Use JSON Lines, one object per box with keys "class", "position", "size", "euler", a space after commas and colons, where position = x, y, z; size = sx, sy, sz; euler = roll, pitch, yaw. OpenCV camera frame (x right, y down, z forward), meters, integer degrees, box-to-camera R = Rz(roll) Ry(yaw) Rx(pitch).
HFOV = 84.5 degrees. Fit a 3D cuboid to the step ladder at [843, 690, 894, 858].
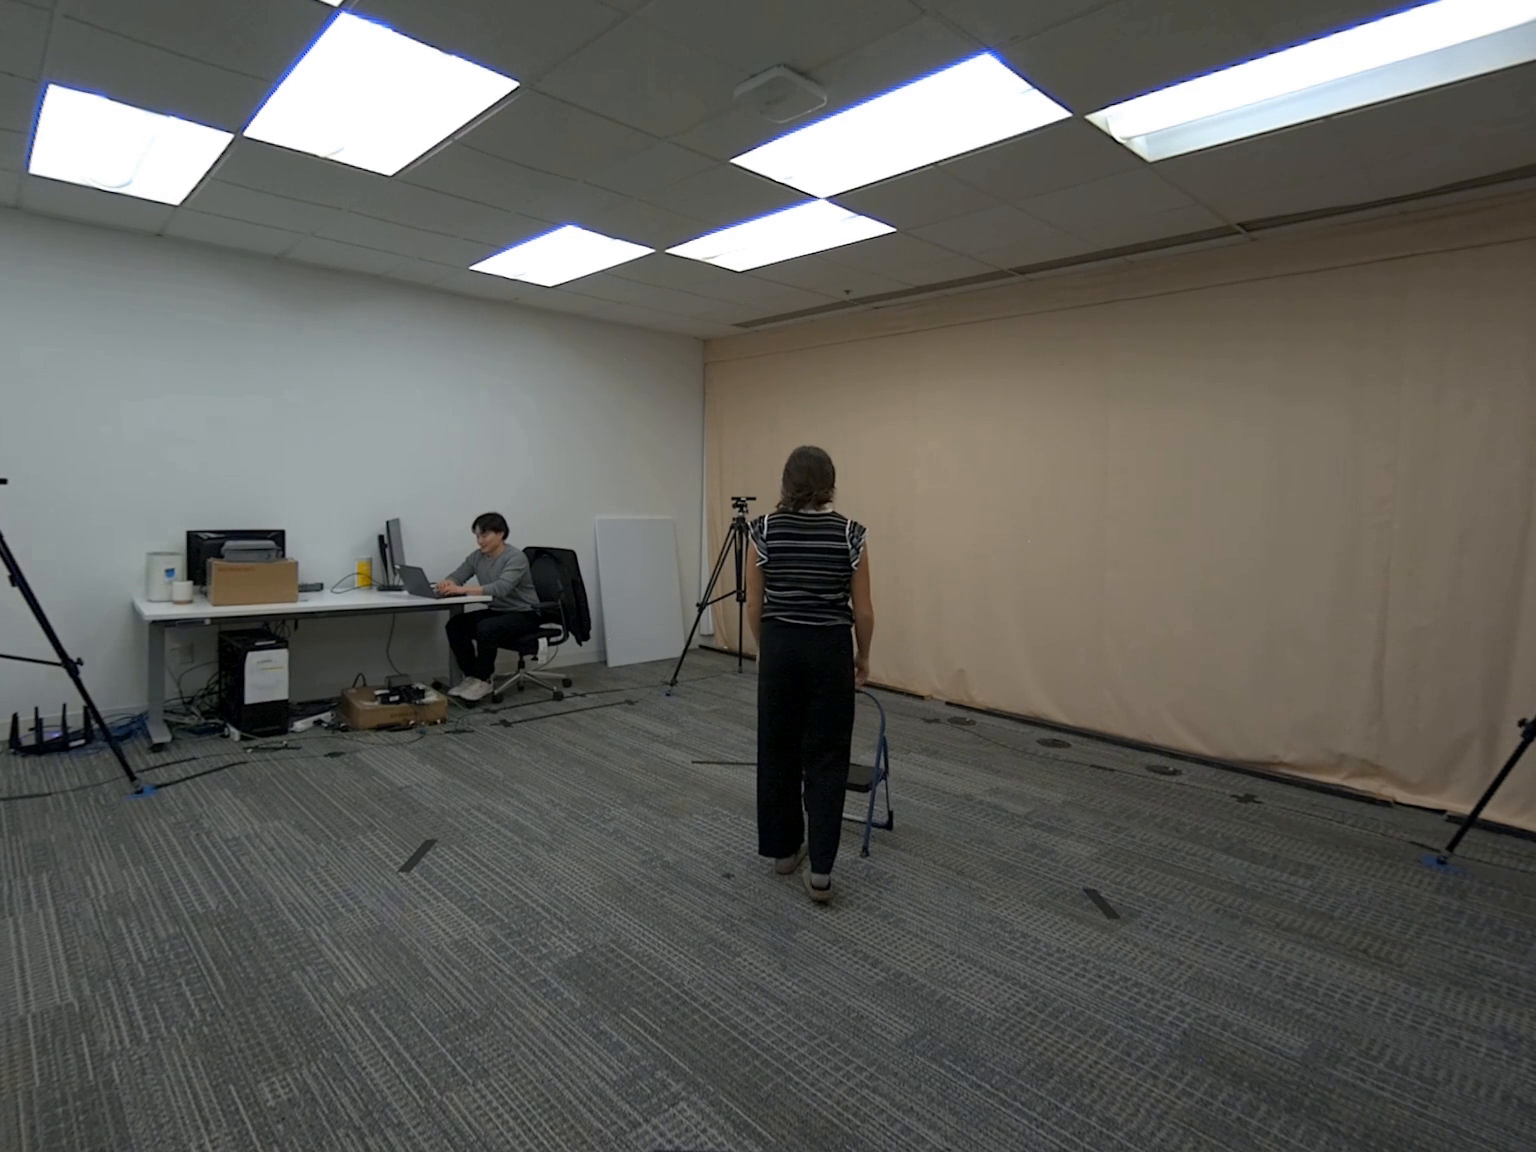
{"class": "step ladder", "position": [0.281, 0.780, 3.540], "size": [0.440, 0.605, 0.342], "euler": [4, 3, 29]}
